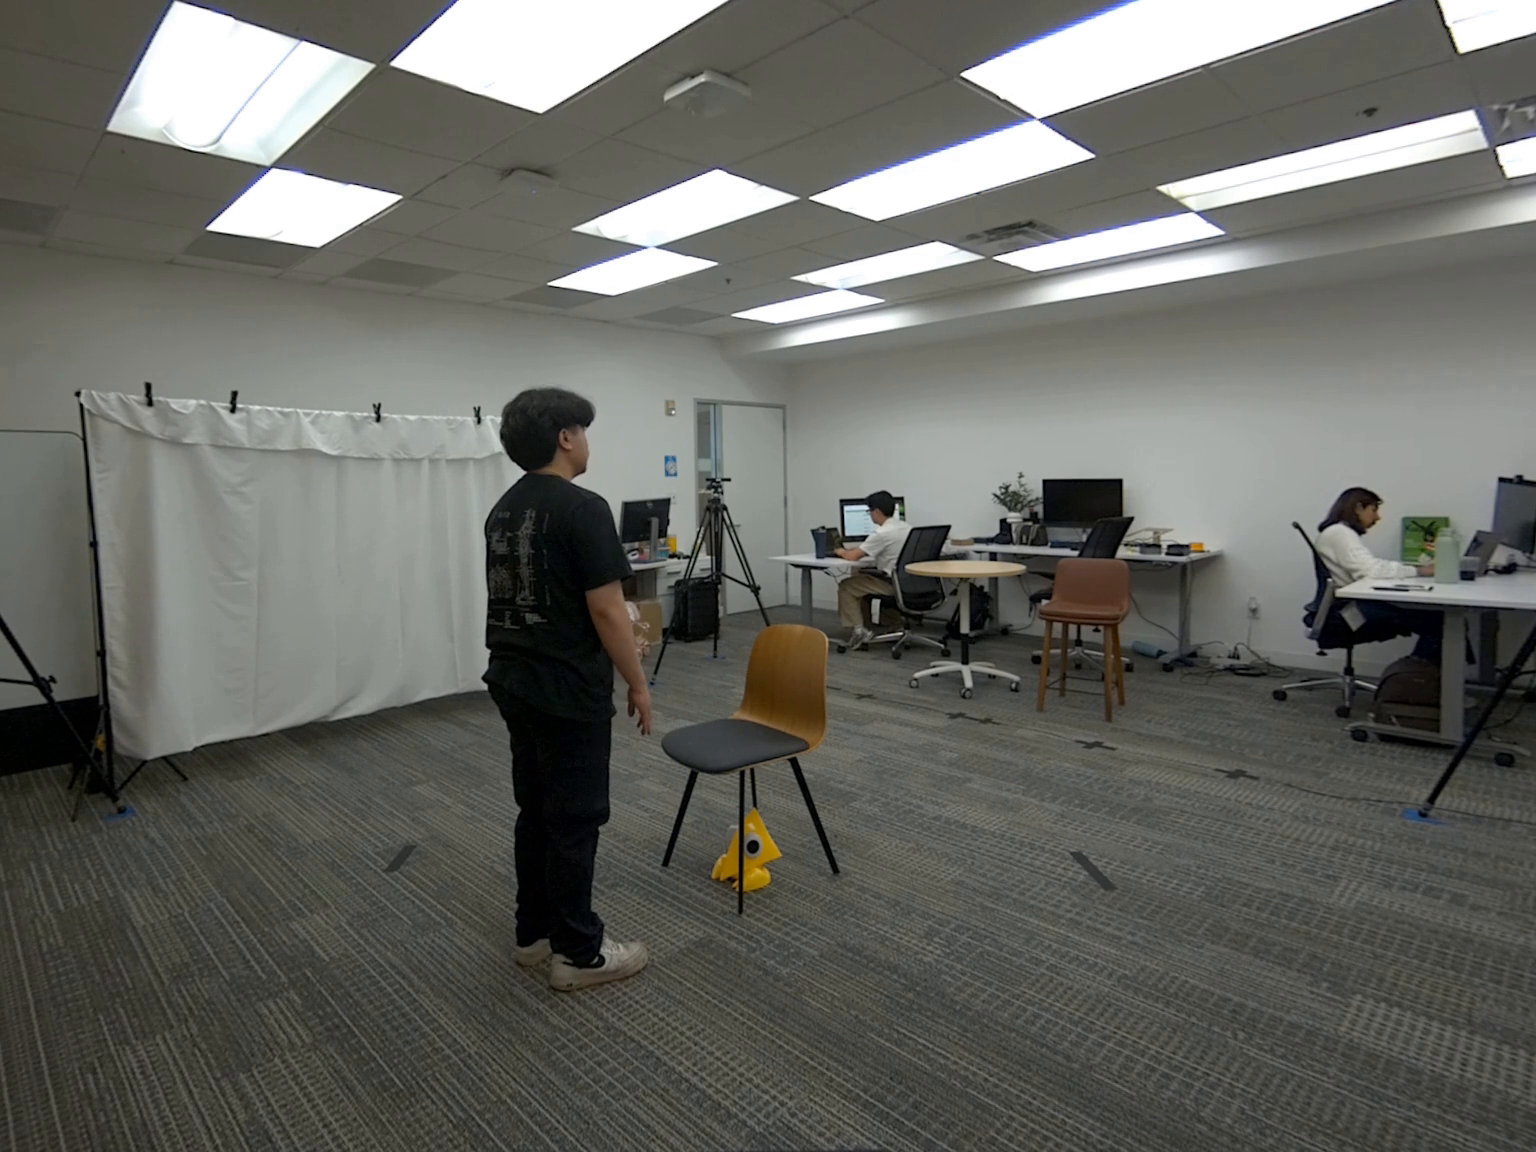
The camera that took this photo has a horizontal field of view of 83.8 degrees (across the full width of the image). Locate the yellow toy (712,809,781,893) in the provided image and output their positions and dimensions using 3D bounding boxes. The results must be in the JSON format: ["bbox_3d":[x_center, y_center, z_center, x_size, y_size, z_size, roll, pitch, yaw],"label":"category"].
[{"bbox_3d":[-0.085,0.945,2.990,0.188,0.230,0.211,-6,7,-43],"label":"yellow toy"}]
